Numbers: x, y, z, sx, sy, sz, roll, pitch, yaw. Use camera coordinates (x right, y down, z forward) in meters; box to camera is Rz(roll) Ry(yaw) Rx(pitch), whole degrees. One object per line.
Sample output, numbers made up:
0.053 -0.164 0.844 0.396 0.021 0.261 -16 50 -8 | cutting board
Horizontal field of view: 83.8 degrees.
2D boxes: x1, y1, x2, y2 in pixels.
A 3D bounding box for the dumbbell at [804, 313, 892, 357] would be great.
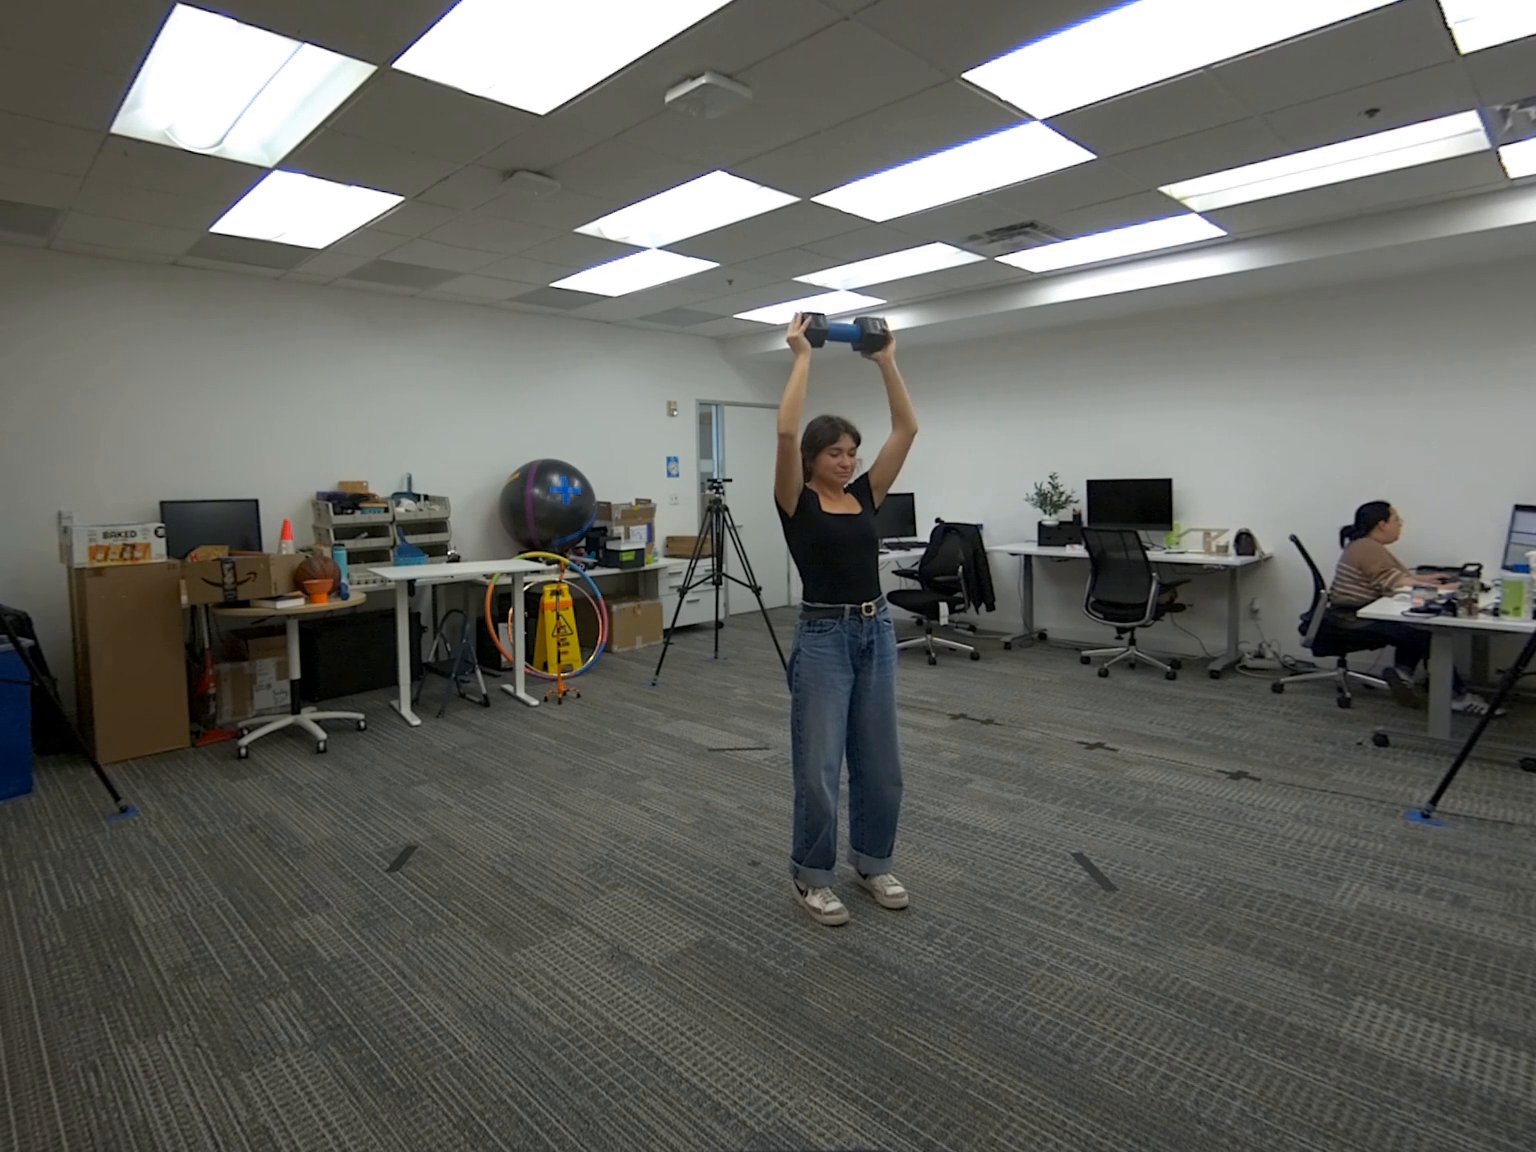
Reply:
0.229 -0.761 2.681 0.287 0.121 0.113 -3 43 -26 | dumbbell
